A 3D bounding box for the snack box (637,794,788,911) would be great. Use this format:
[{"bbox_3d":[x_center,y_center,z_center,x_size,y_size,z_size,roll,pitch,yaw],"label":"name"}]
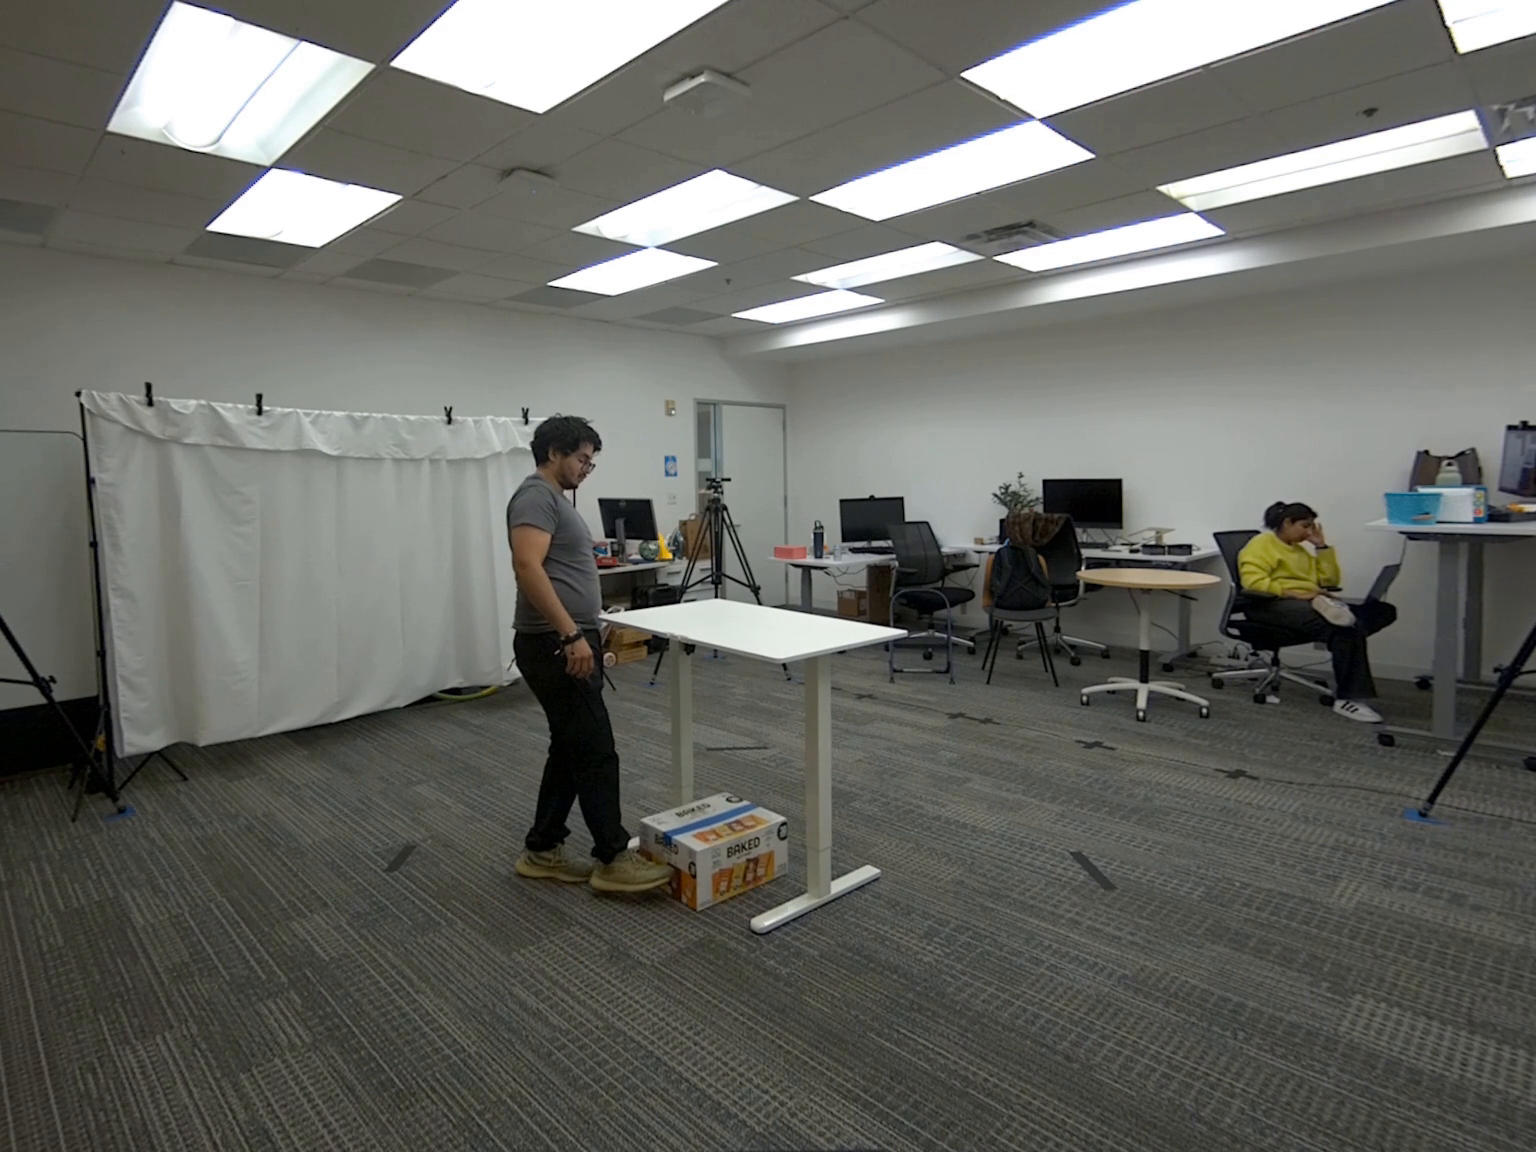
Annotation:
[{"bbox_3d":[-0.193,0.954,3.004,0.394,0.205,0.351,-6,8,-41],"label":"snack box"}]
